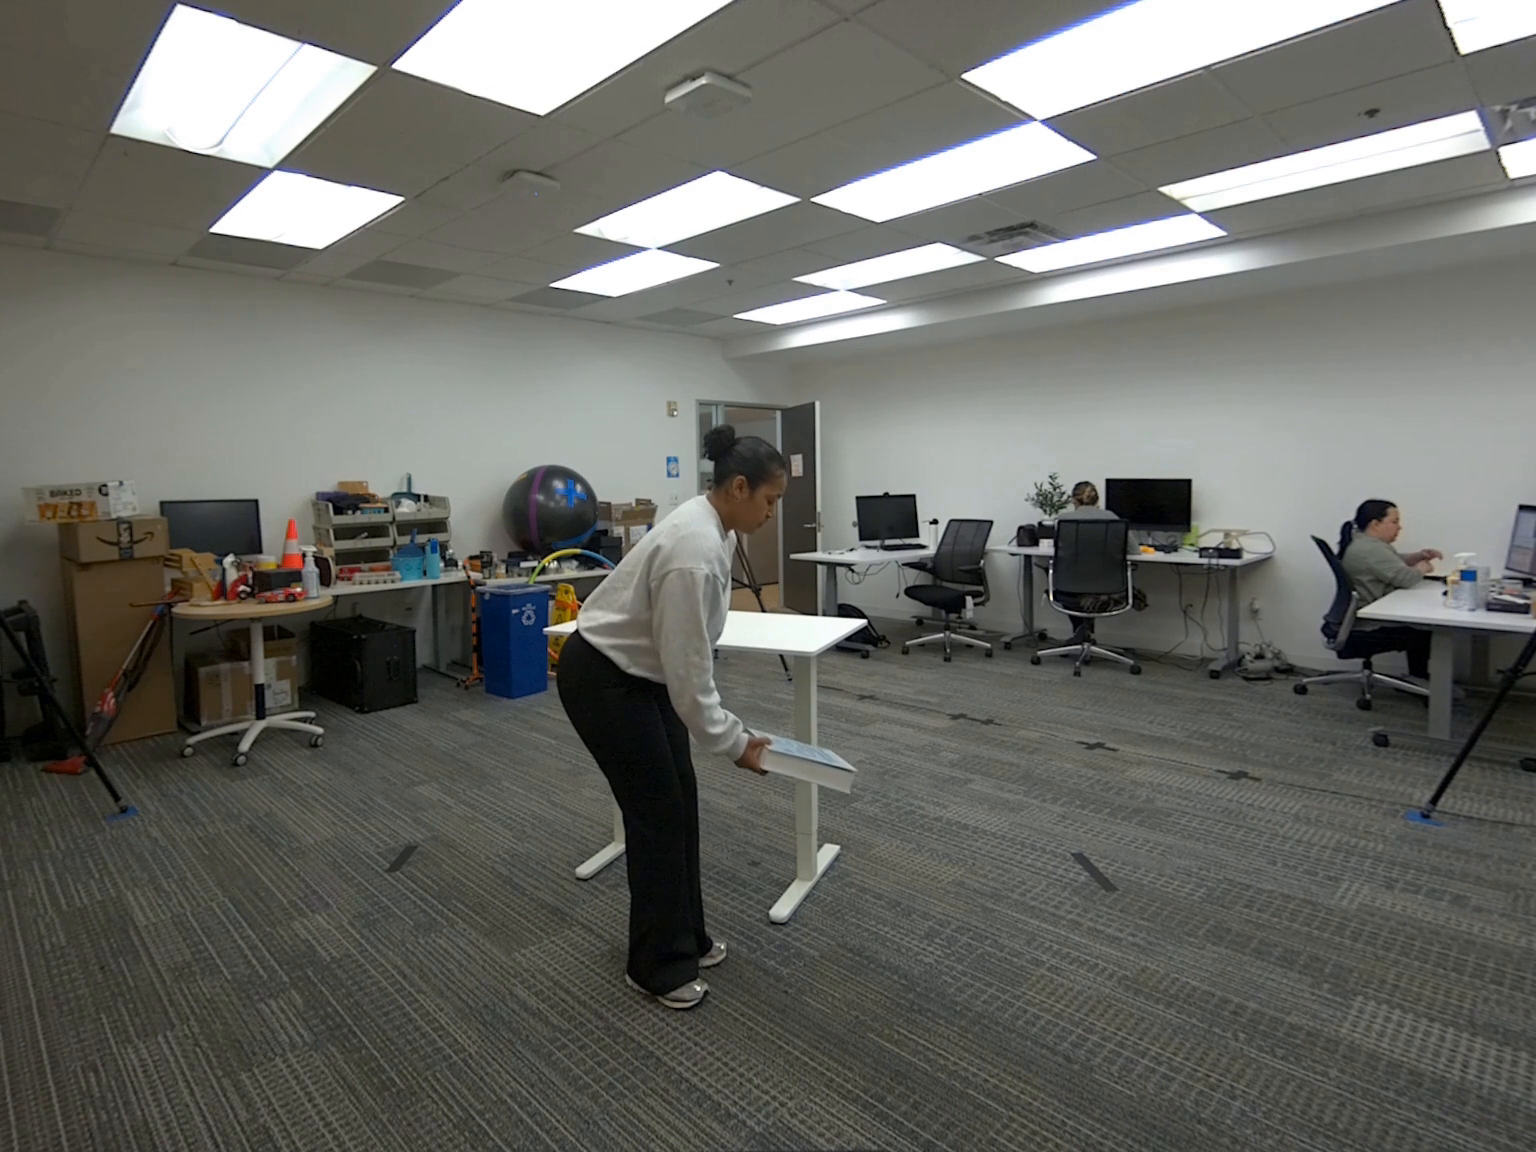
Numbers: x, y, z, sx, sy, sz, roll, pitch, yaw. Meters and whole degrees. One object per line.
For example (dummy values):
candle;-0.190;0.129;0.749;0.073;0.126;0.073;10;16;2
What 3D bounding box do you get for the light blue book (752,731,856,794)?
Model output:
light blue book;0.072;0.495;2.282;0.257;0.059;0.194;16;4;-13
